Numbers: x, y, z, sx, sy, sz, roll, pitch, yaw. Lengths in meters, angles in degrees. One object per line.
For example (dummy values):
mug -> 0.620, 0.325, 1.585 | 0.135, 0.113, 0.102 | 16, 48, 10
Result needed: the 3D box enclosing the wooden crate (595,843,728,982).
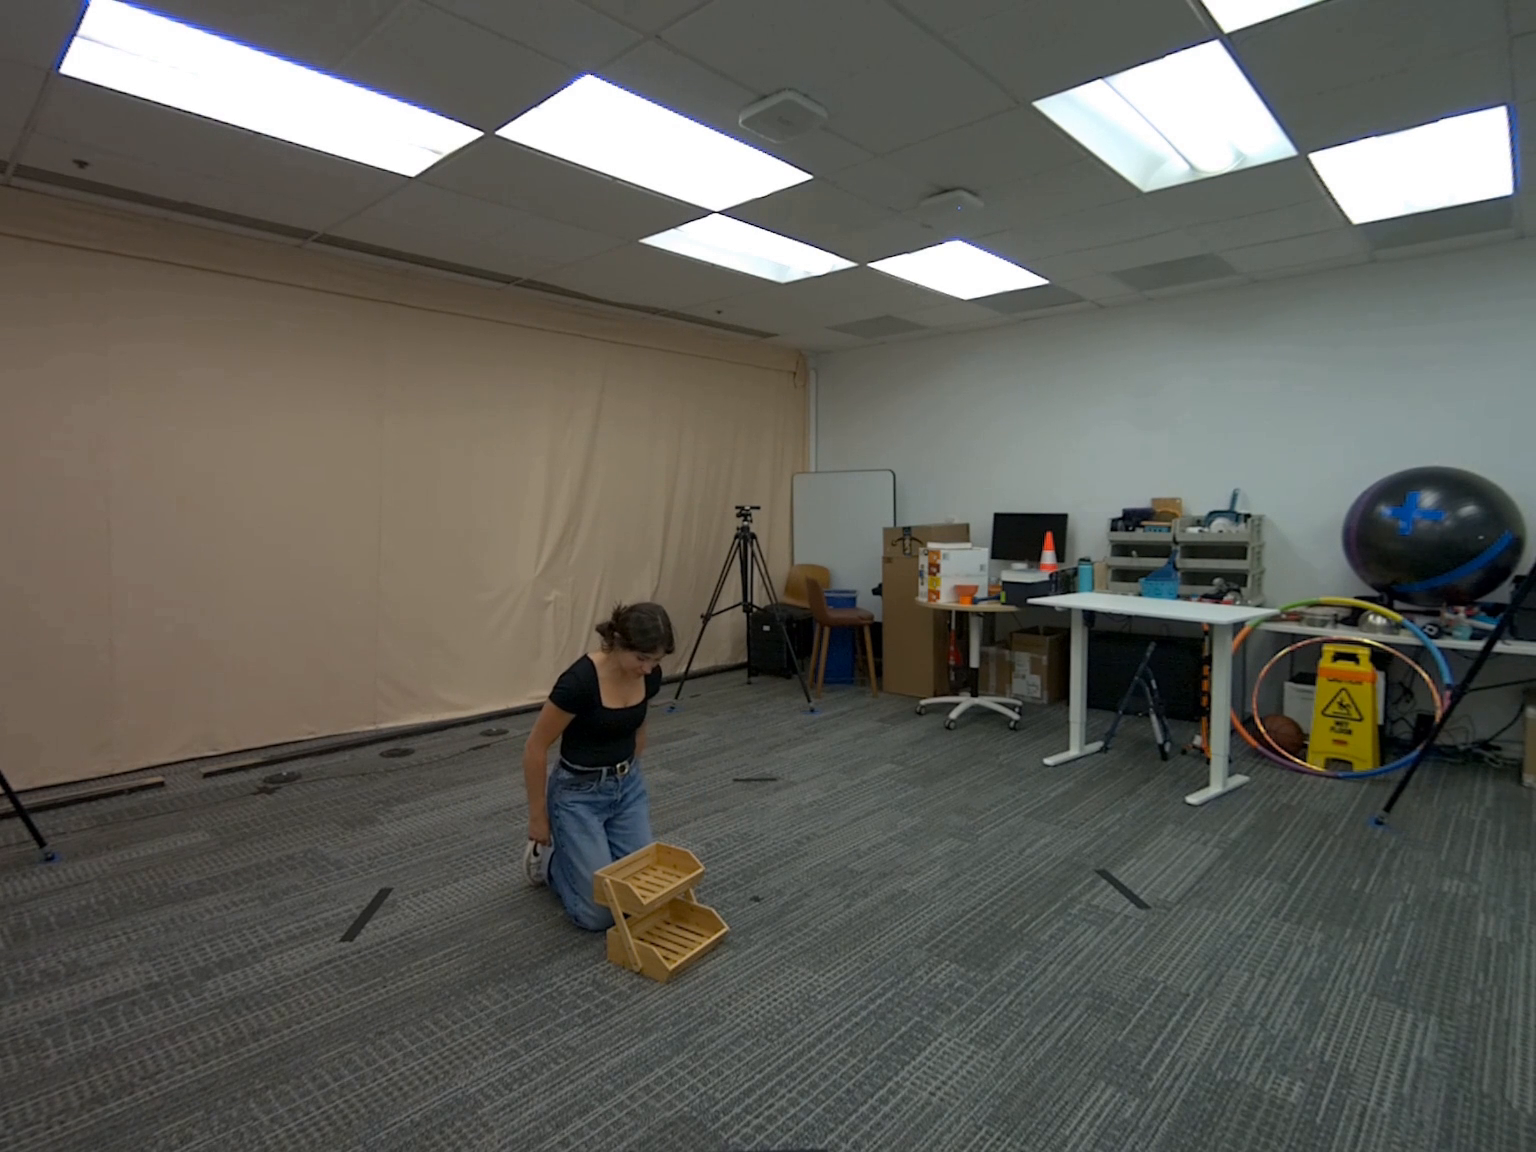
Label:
wooden crate -> -0.329, 1.043, 2.640 | 0.311, 0.273, 0.315 | 1, 4, 34
